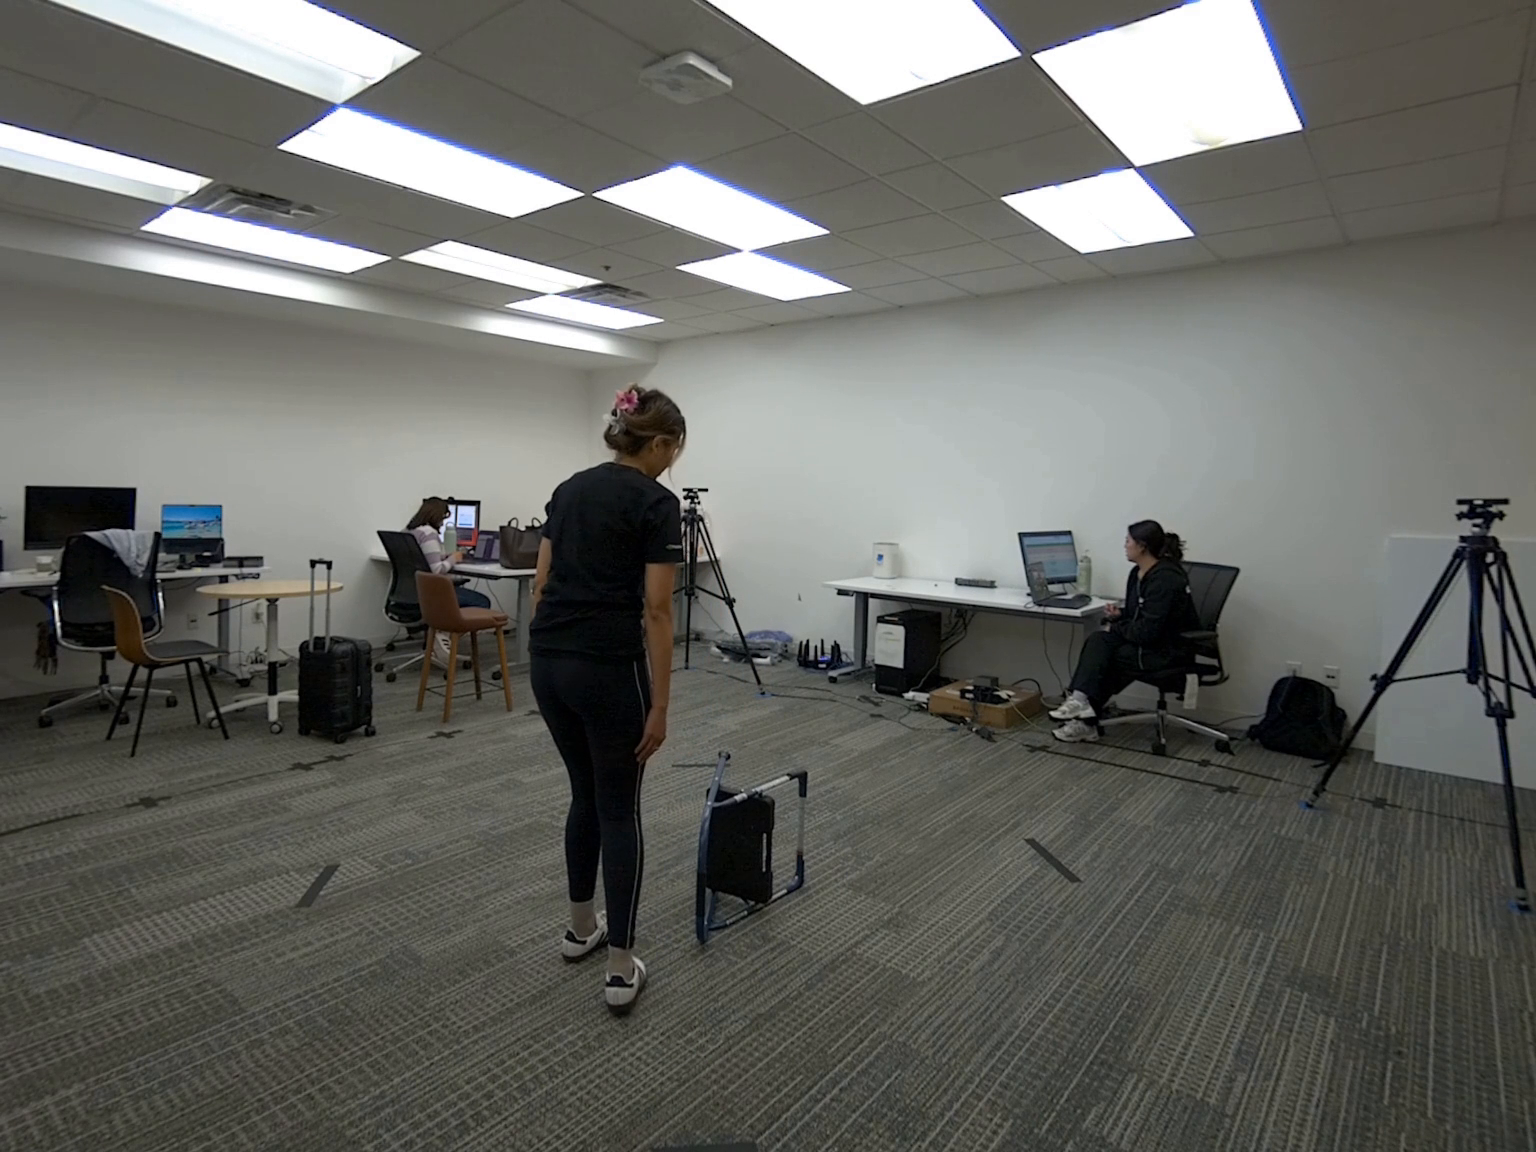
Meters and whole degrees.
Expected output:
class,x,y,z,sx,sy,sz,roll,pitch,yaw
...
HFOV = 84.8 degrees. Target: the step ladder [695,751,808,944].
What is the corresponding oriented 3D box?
class,x,y,z,sx,sy,sz,roll,pitch,yaw
step ladder,-0.148,0.899,2.792,0.358,0.428,0.593,3,6,25
